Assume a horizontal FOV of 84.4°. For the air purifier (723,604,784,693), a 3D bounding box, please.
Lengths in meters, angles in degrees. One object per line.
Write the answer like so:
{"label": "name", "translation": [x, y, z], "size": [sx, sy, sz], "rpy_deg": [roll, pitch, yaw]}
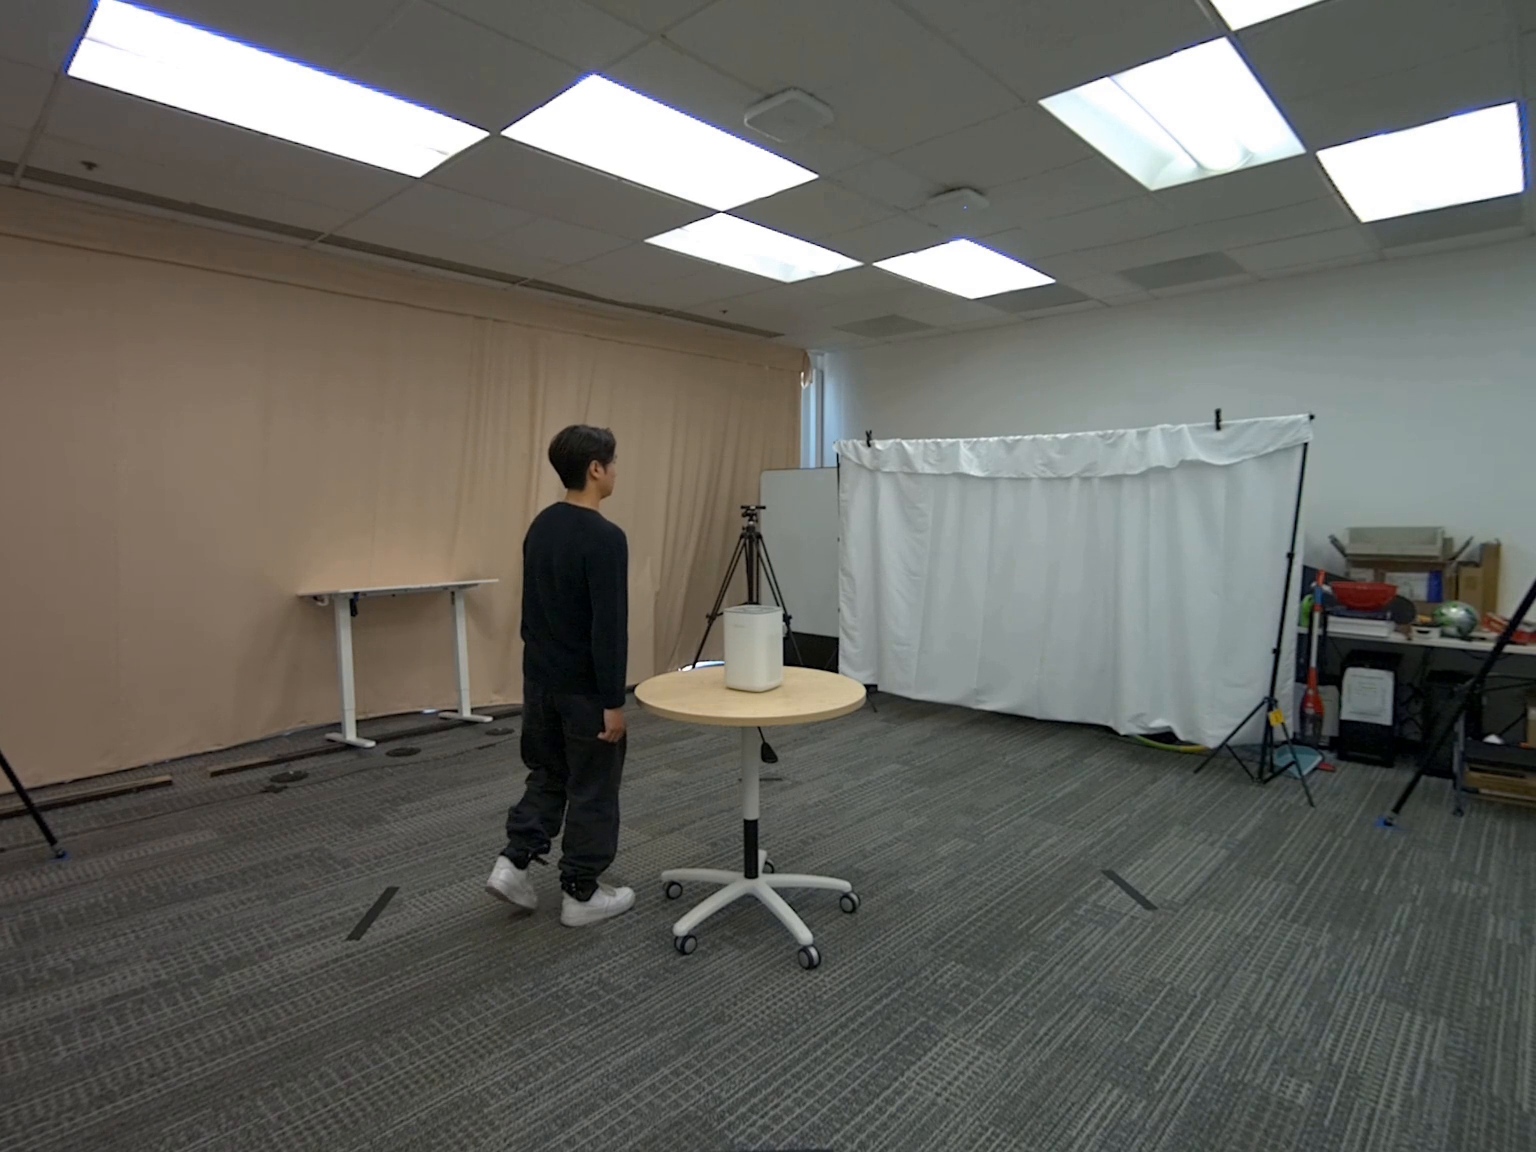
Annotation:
{"label": "air purifier", "translation": [-0.045, 0.240, 2.803], "size": [0.176, 0.265, 0.167], "rpy_deg": [1, 4, 32]}
